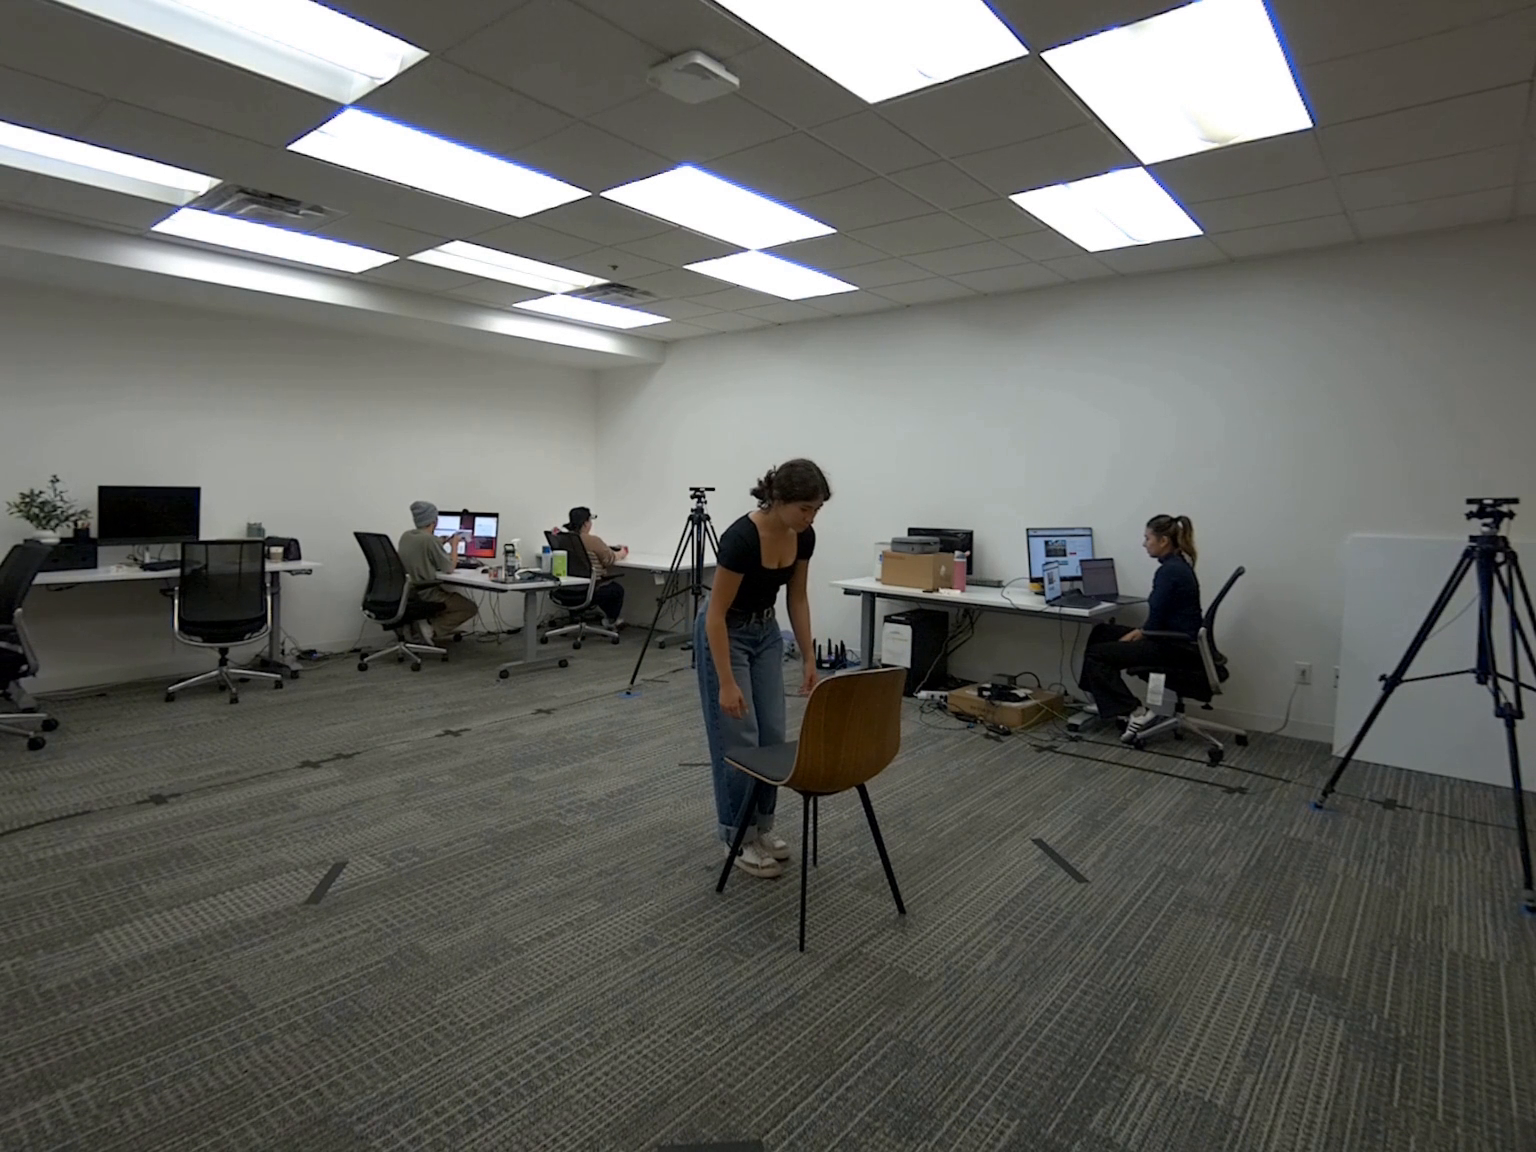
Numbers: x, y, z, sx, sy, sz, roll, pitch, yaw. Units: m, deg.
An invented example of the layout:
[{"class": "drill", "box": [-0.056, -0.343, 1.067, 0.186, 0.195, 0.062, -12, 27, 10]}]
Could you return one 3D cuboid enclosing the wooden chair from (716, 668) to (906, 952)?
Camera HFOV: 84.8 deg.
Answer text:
[{"class": "wooden chair", "box": [0.137, 0.674, 2.840, 0.464, 0.872, 0.542, -1, 8, -37]}]
